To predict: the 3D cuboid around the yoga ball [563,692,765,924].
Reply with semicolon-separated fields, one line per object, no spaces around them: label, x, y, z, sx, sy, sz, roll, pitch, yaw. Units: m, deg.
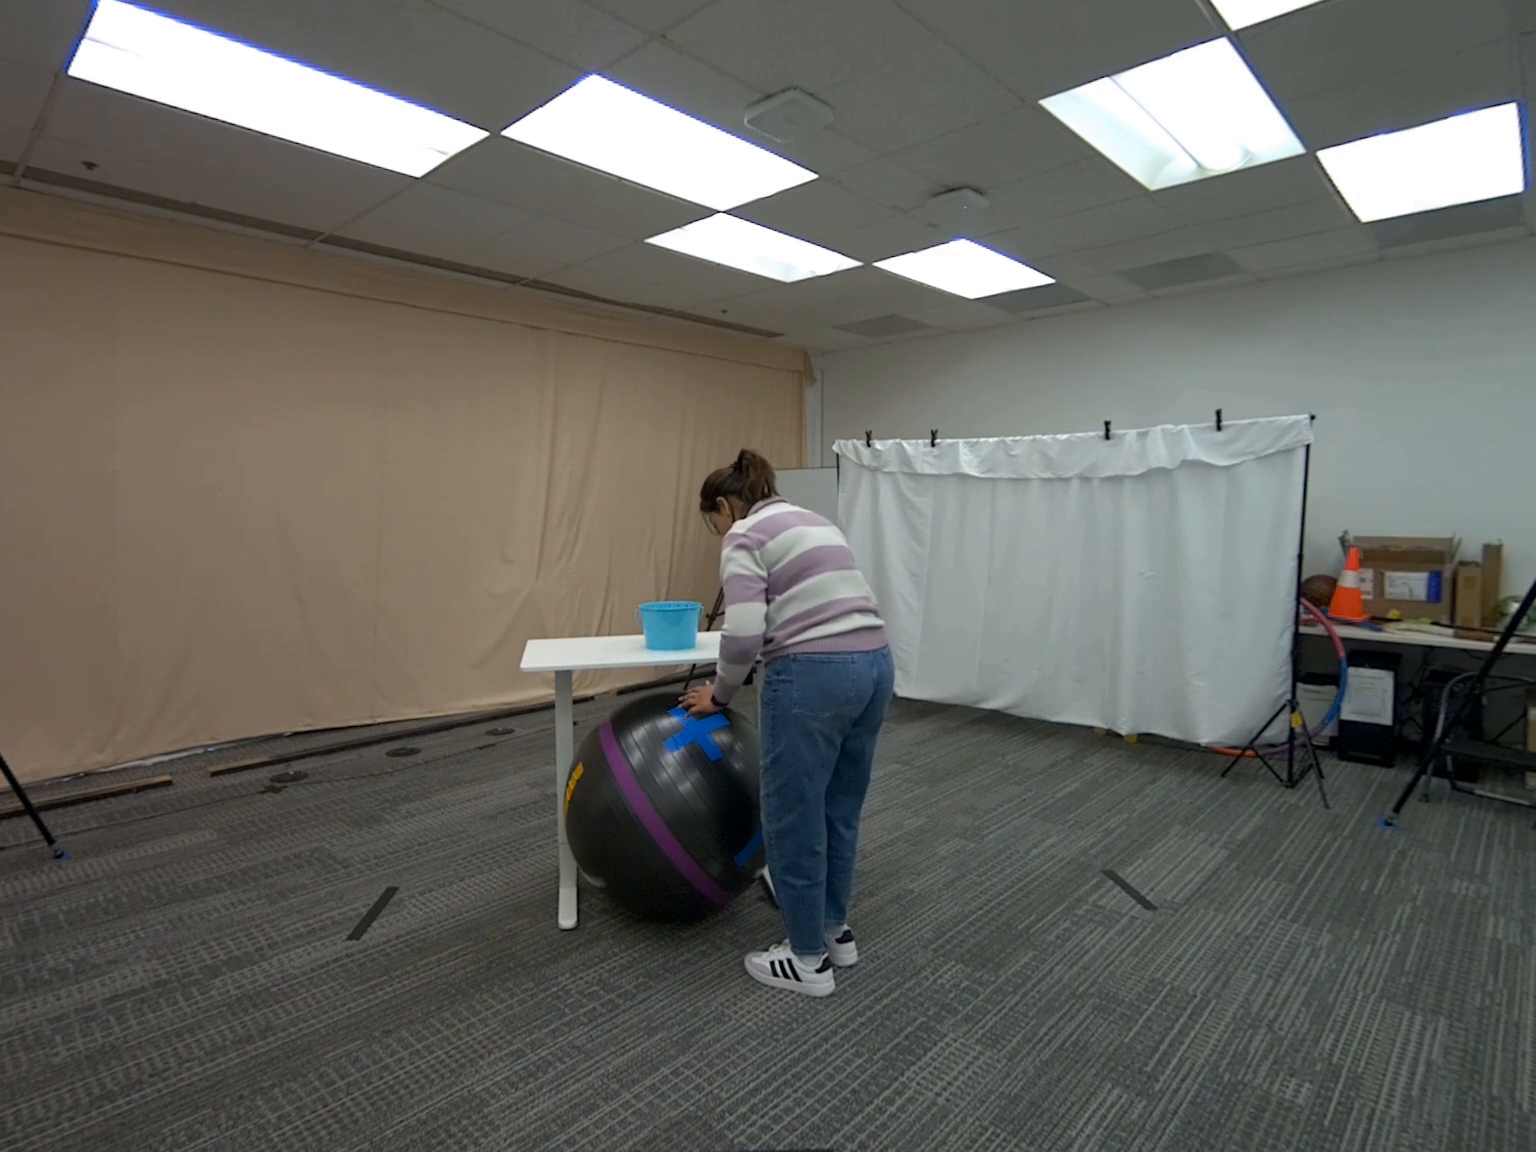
yoga ball;-0.337;0.788;2.915;0.757;0.756;0.760;0;4;-2
